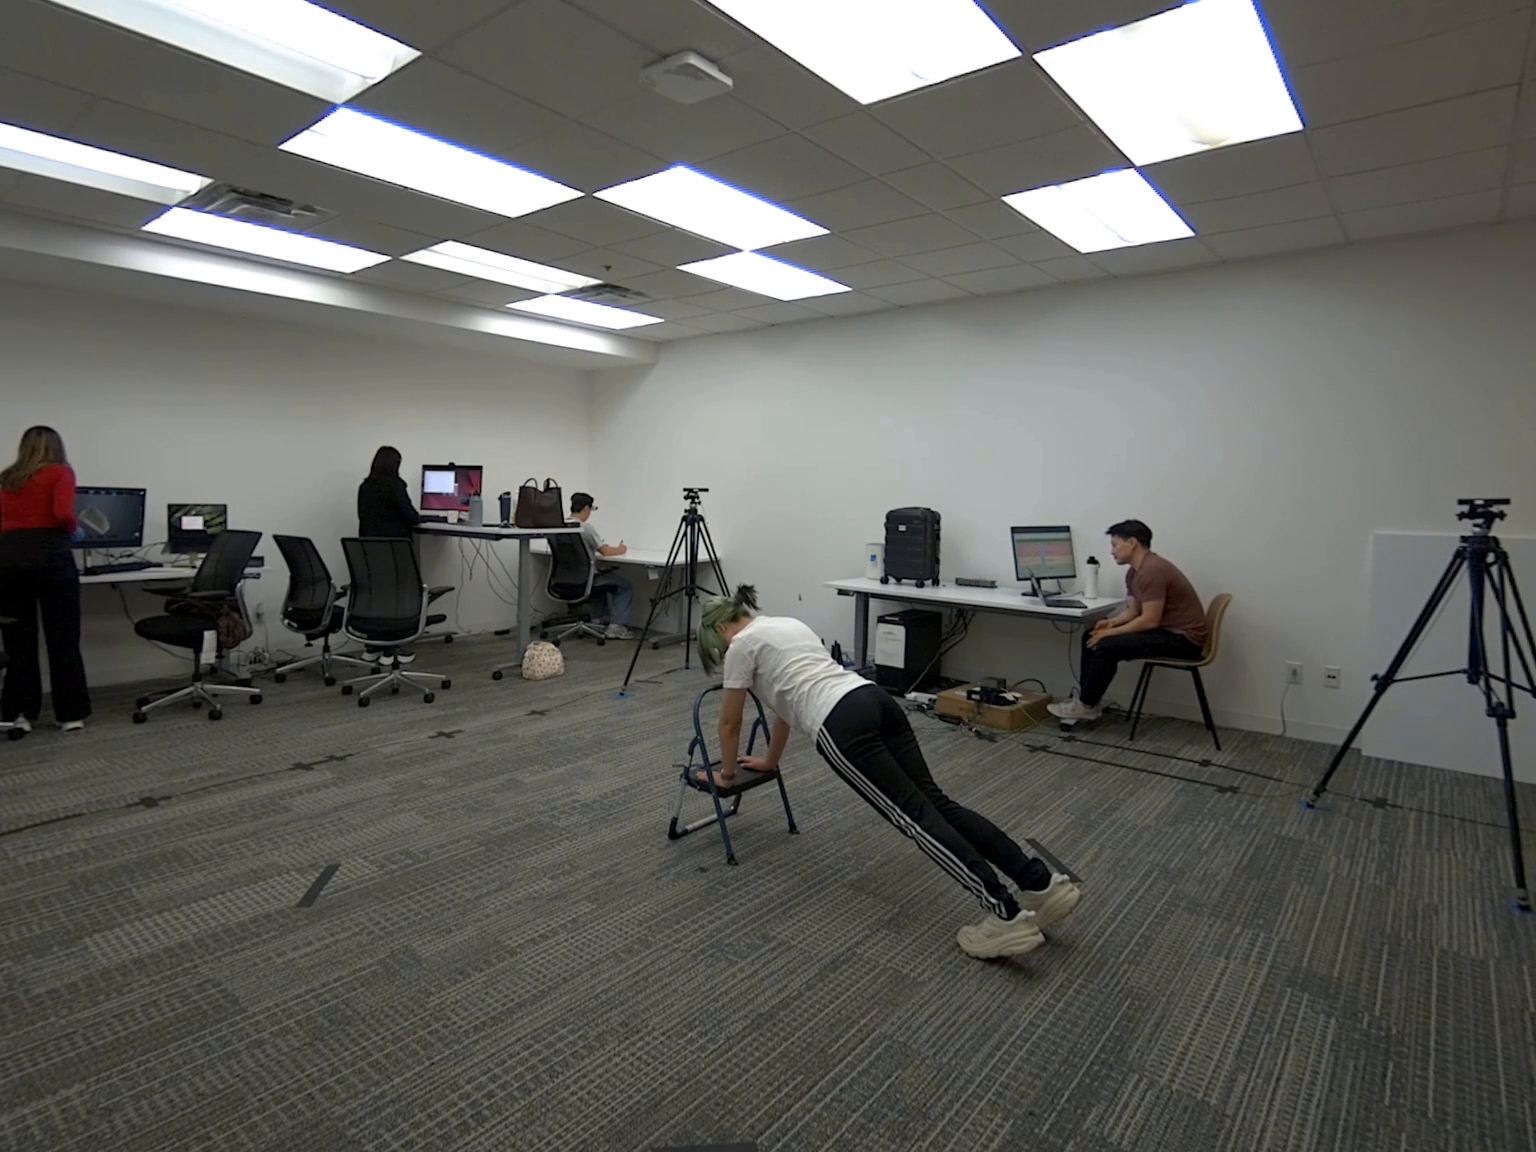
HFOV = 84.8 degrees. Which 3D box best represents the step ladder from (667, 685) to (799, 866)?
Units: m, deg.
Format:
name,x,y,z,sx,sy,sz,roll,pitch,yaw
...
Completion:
name,x,y,z,sx,sy,sz,roll,pitch,yaw
step ladder,-0.144,0.741,3.403,0.361,0.604,0.418,4,4,38
